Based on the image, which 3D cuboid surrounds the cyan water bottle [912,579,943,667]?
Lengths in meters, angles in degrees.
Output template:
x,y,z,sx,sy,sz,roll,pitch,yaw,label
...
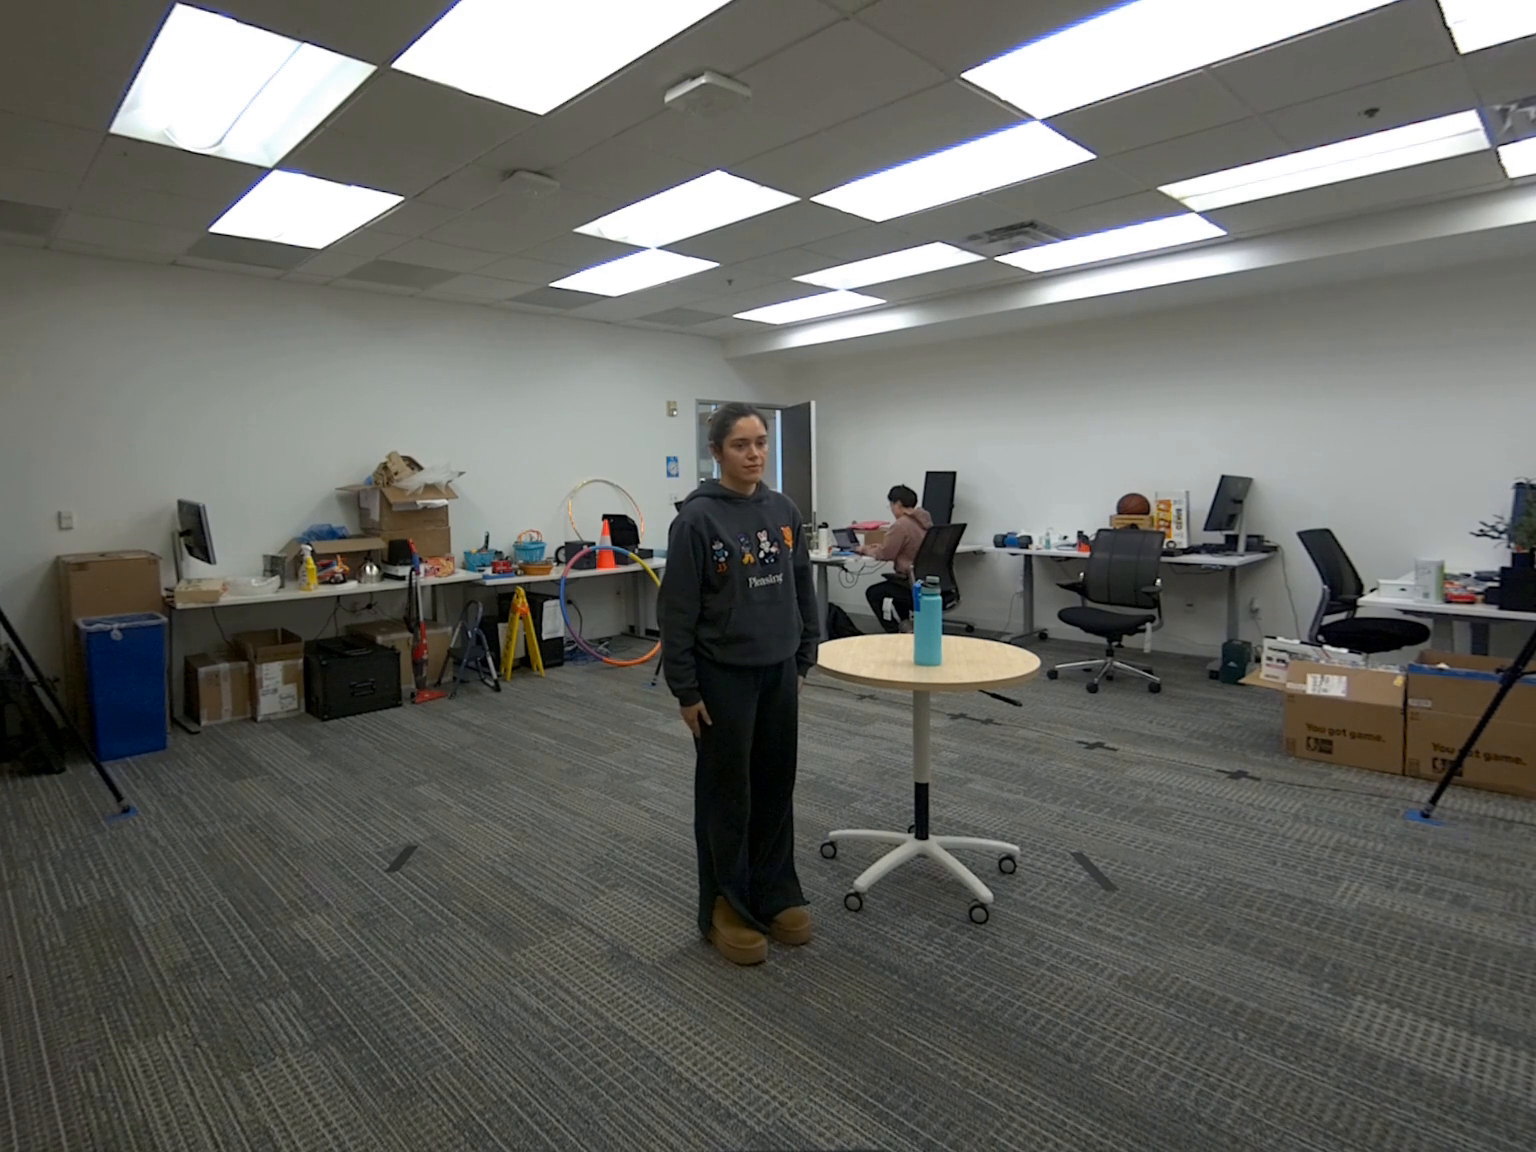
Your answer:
x,y,z,sx,sy,sz,roll,pitch,yaw,label
0.529,0.150,2.781,0.092,0.282,0.093,-2,5,-1,cyan water bottle
